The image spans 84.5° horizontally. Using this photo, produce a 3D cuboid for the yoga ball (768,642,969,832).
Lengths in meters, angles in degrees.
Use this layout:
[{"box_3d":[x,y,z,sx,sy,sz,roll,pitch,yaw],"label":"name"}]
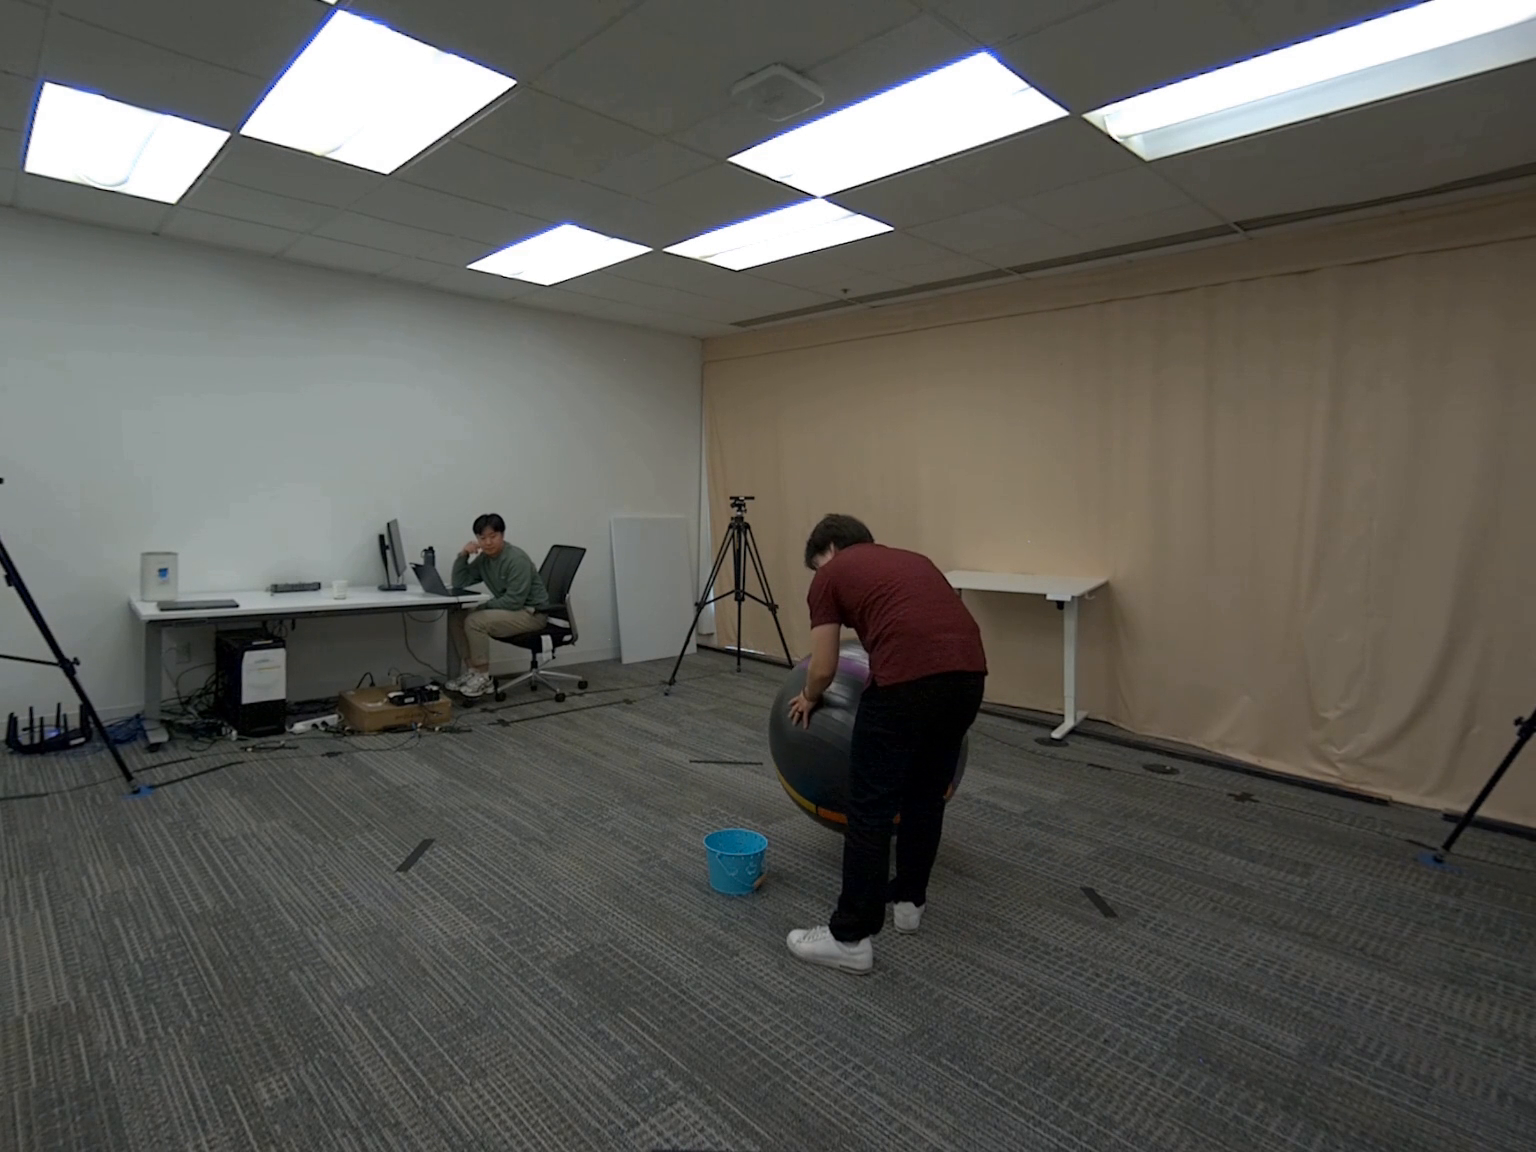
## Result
[{"box_3d":[0.366,0.614,3.261,0.757,0.756,0.761,1,4,-1],"label":"yoga ball"}]
